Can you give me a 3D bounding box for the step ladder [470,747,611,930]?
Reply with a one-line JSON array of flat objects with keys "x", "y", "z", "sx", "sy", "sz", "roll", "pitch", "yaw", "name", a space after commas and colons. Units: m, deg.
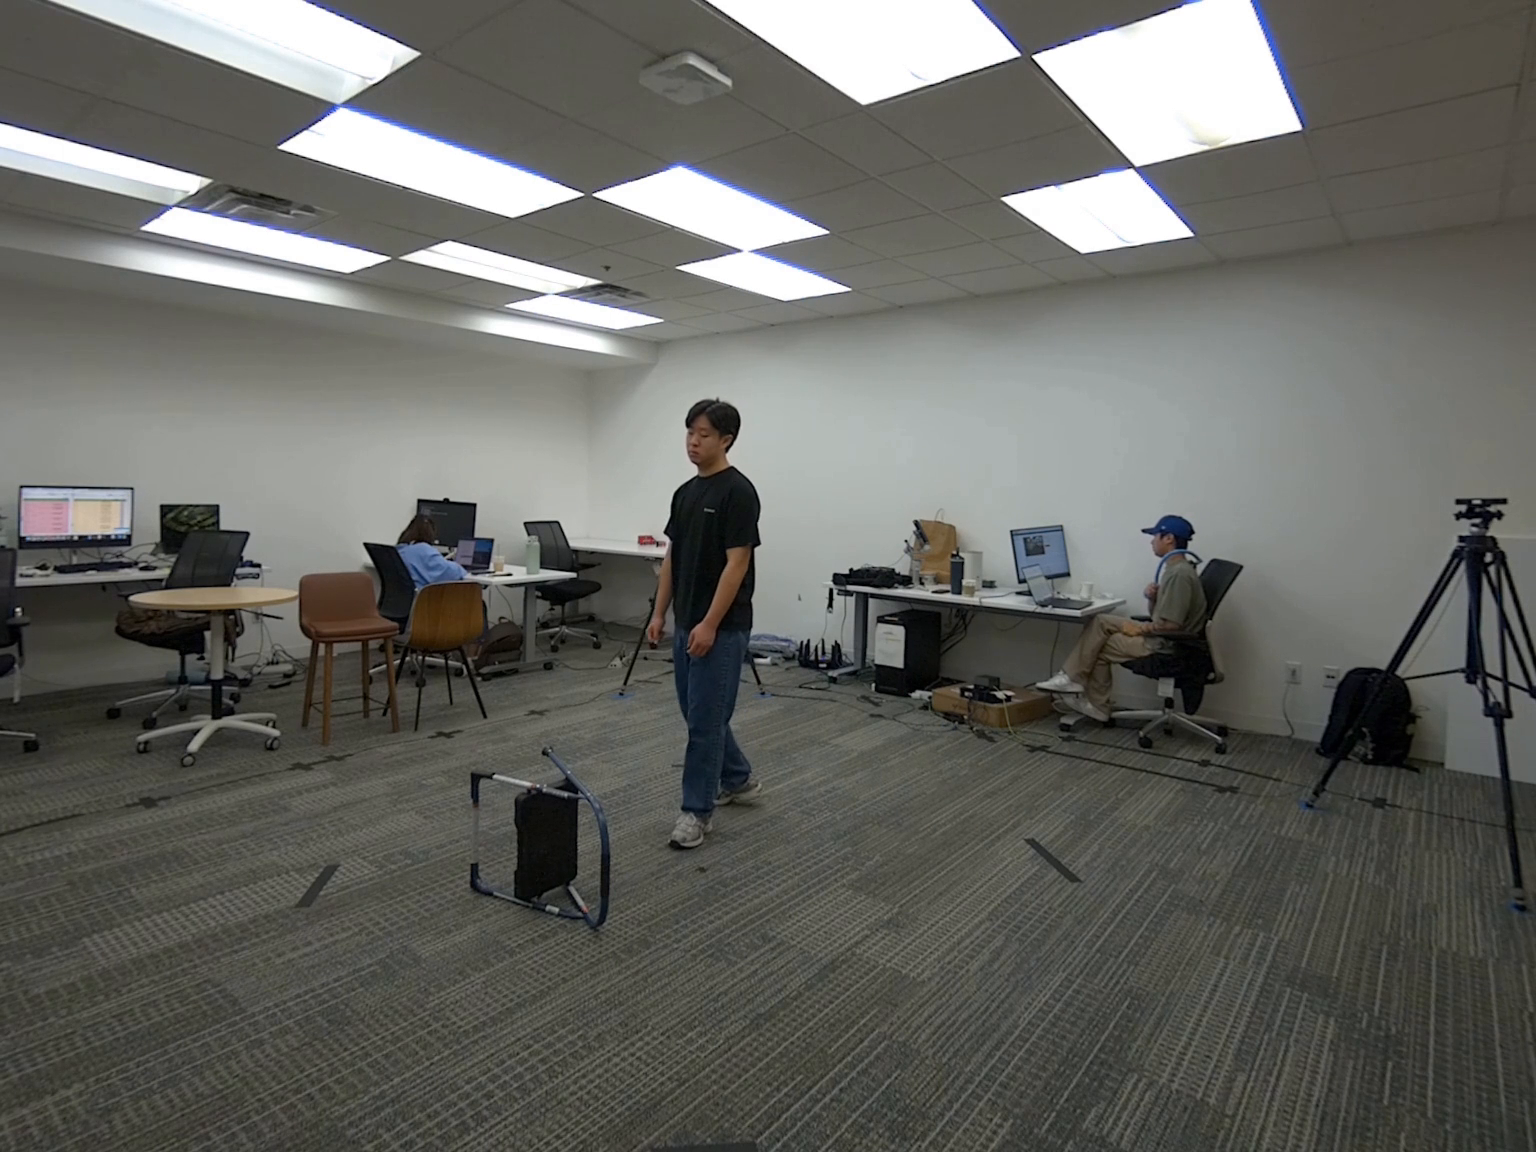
[{"x": -0.692, "y": 0.879, "z": 2.833, "sx": 0.627, "sy": 0.429, "sz": 0.339, "roll": 6, "pitch": 7, "yaw": 40, "name": "step ladder"}]
